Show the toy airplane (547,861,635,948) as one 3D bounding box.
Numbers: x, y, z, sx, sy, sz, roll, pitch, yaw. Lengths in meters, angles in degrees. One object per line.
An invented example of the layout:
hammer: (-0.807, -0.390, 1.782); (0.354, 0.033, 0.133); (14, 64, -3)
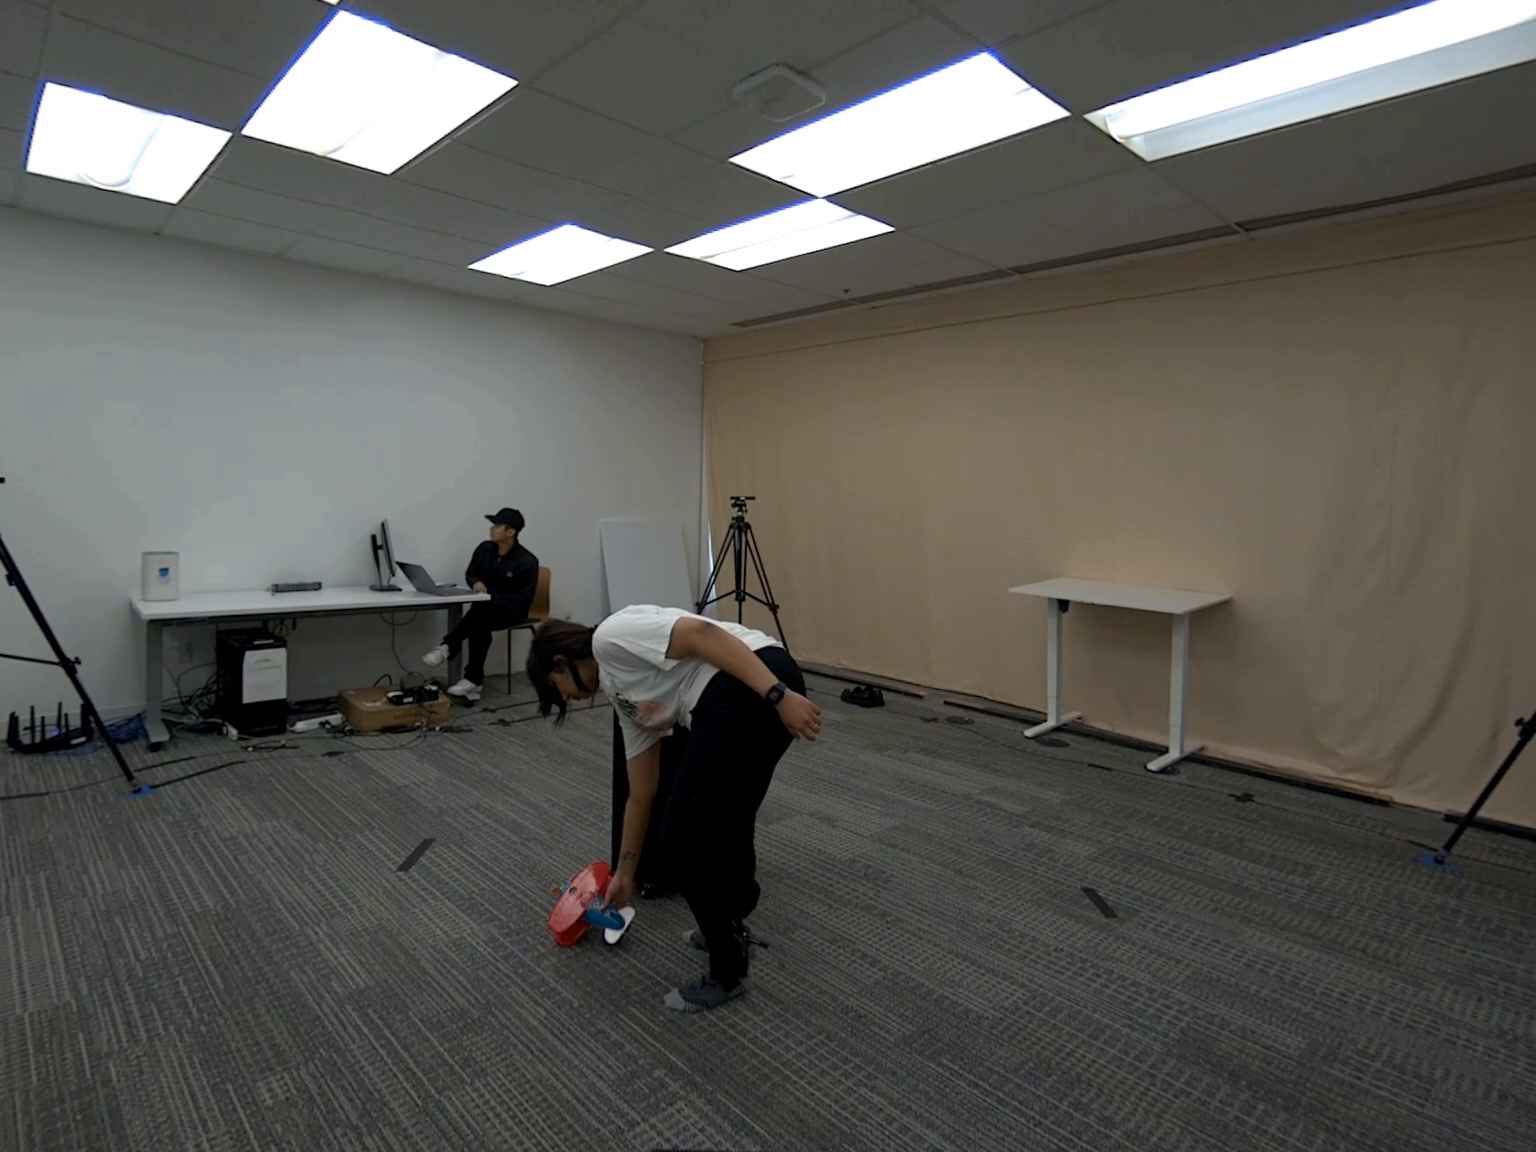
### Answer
toy airplane: (-0.557, 1.043, 2.644); (0.261, 0.152, 0.255); (-13, 31, 13)
